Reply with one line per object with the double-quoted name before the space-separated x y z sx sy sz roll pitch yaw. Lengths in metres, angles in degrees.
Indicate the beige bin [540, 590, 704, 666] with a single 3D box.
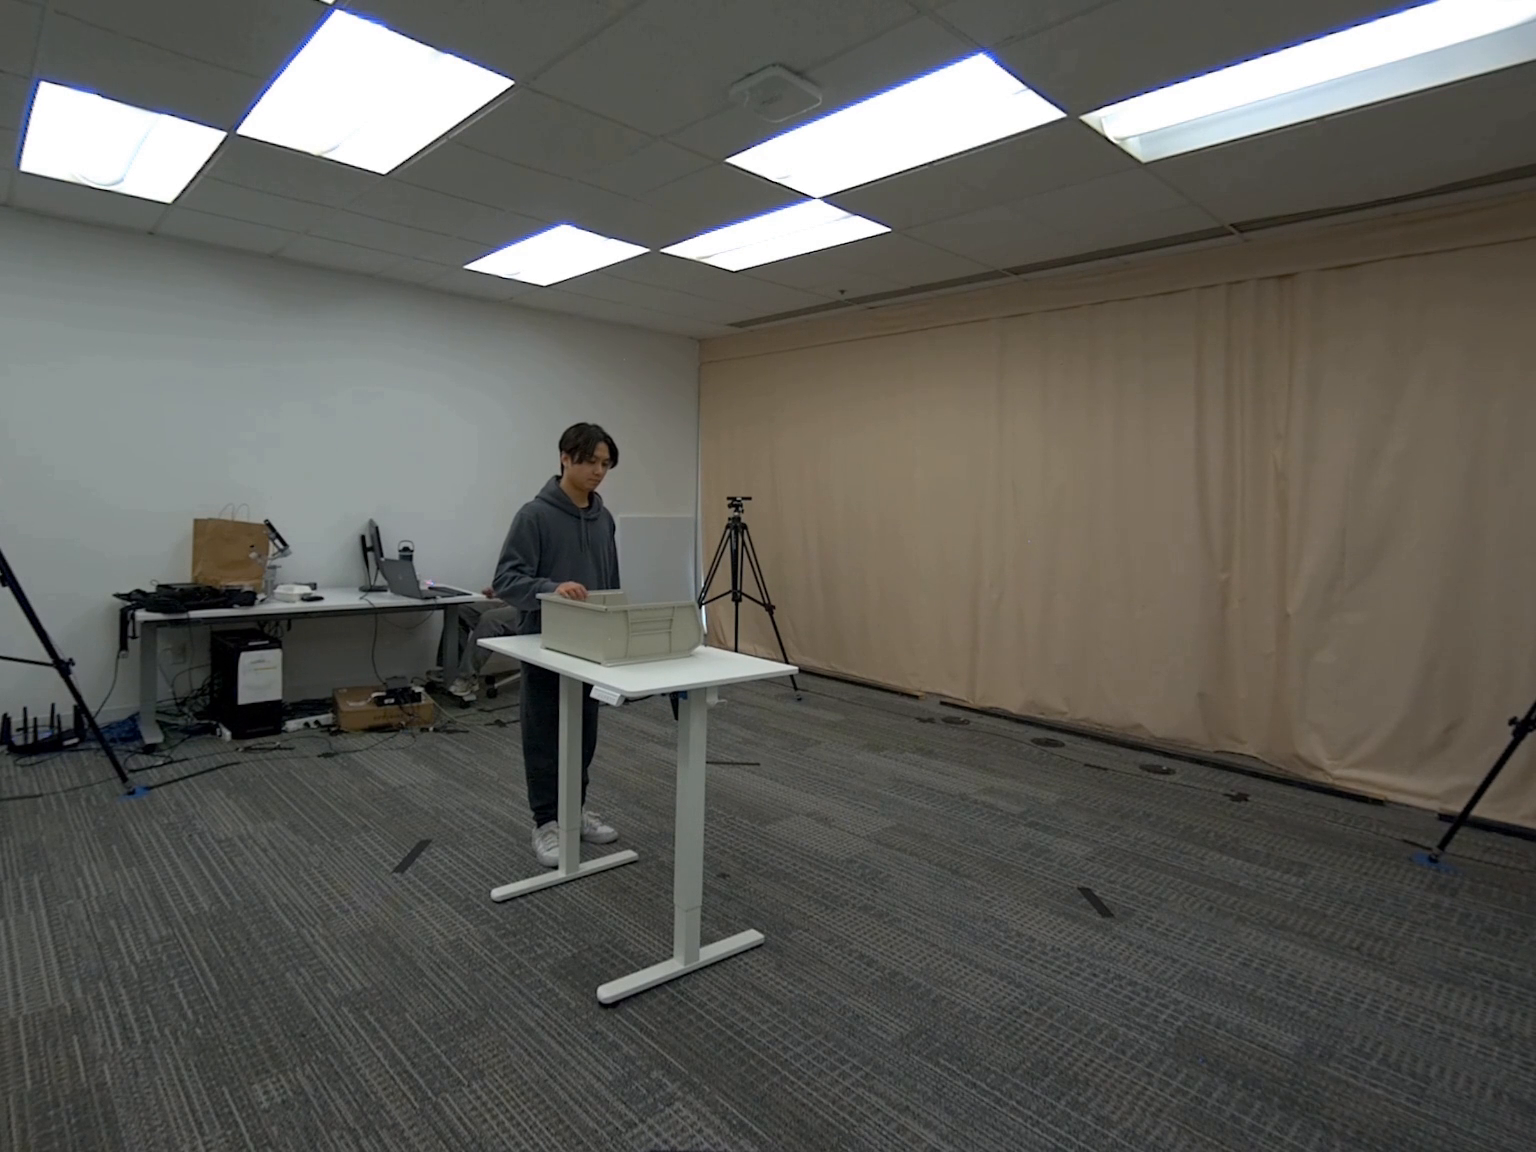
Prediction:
"beige bin" -0.490 0.159 2.735 0.369 0.188 0.433 -4 6 -41
